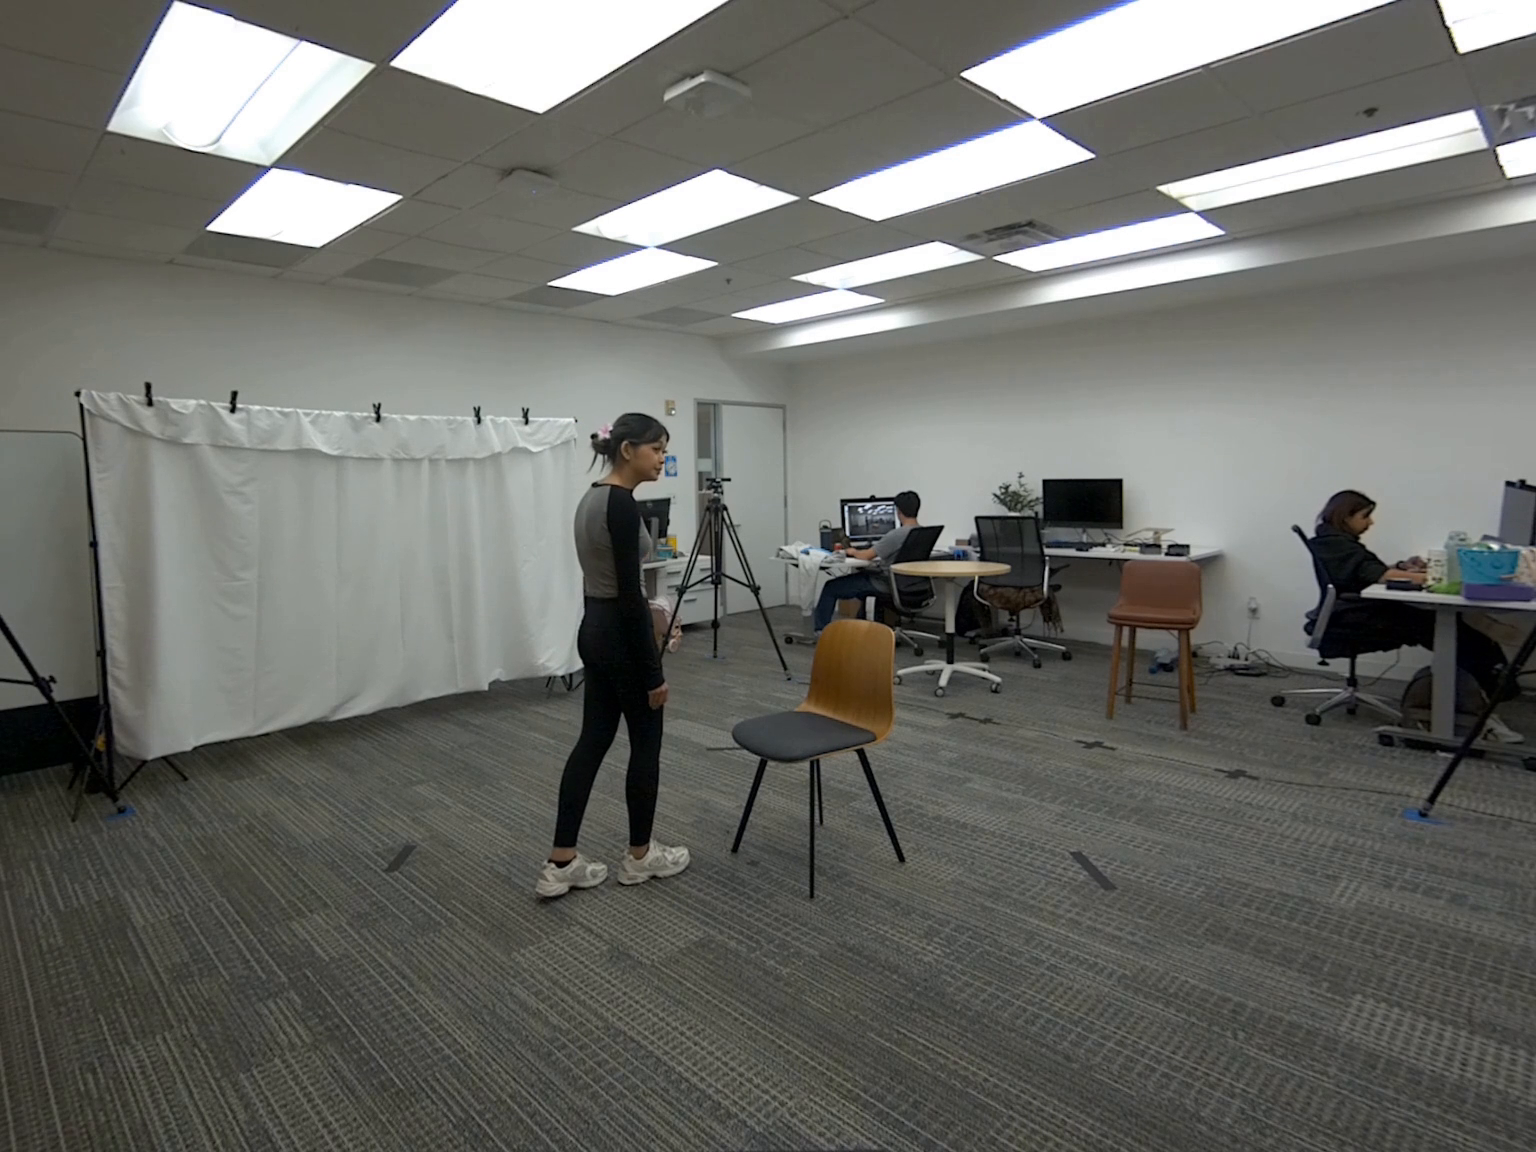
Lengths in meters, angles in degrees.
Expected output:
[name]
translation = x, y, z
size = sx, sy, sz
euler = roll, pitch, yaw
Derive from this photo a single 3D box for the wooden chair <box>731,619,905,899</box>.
[wooden chair]
translation = 0.170, 0.611, 3.104
size = 0.508, 0.876, 0.492
euler = 1, 2, -38
